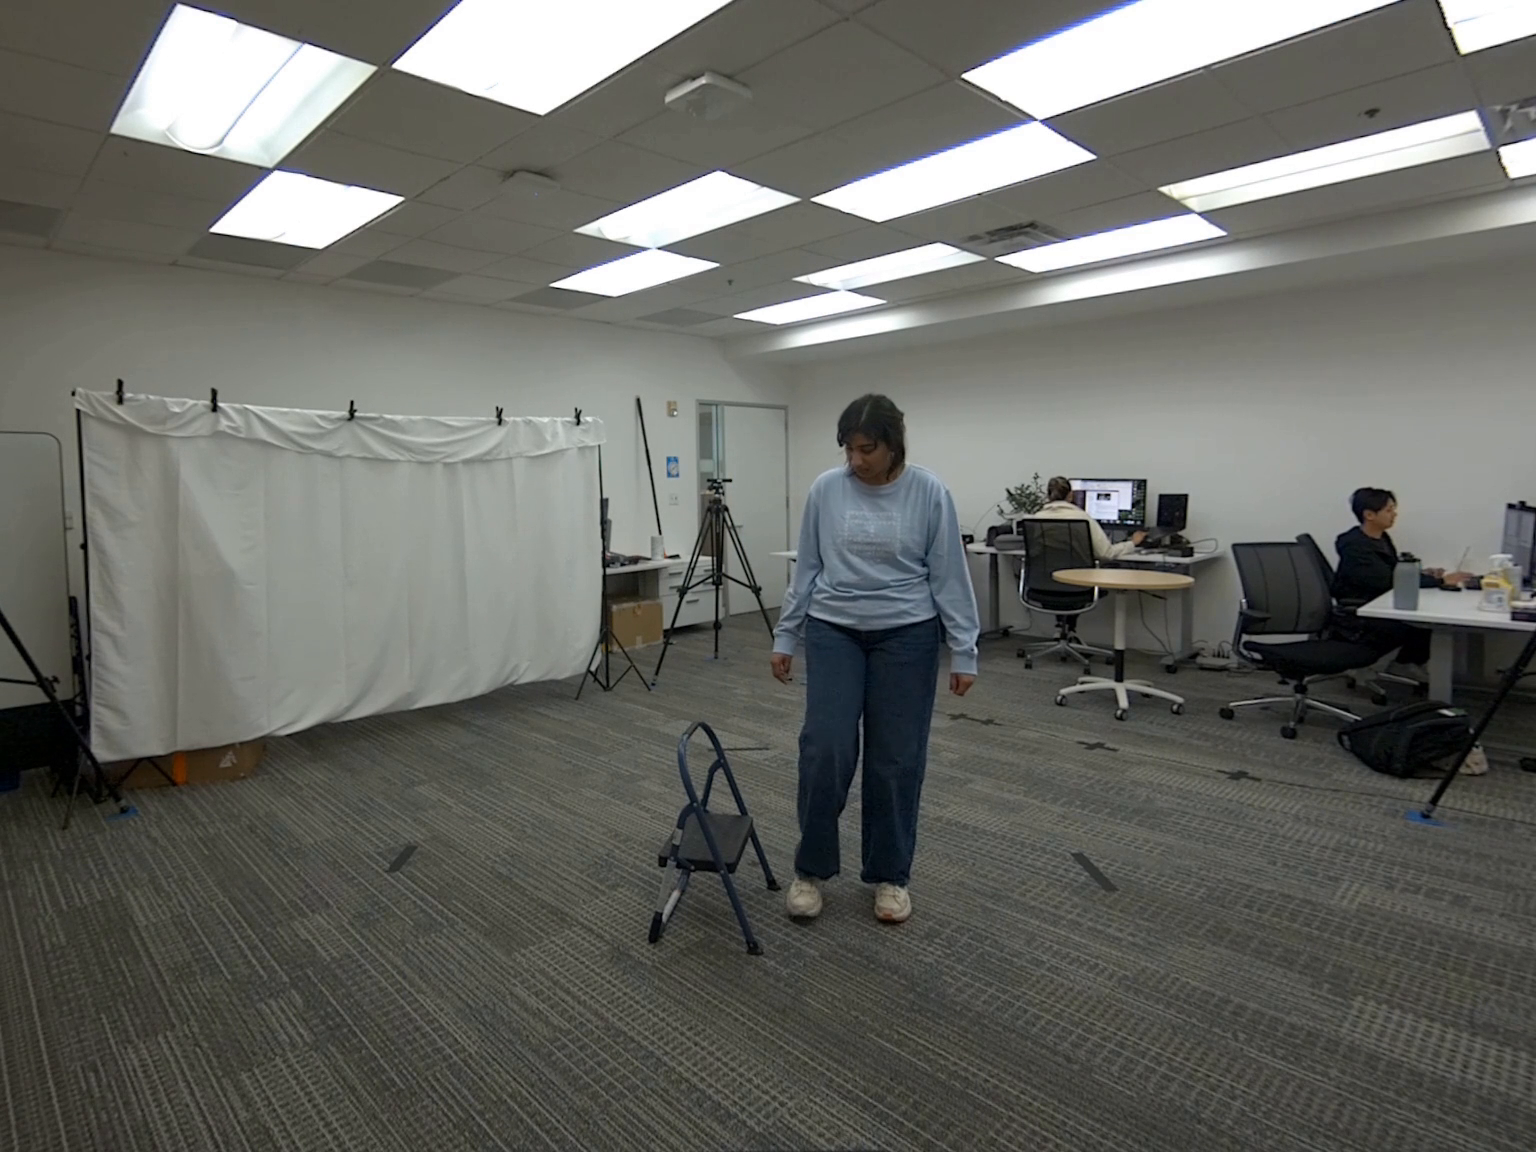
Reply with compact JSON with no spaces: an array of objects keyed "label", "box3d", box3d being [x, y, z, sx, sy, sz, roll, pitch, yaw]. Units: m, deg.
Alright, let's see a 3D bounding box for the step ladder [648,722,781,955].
[{"label":"step ladder","box3d":[-0.163,0.789,2.726,0.353,0.604,0.428,1,5,10]}]
